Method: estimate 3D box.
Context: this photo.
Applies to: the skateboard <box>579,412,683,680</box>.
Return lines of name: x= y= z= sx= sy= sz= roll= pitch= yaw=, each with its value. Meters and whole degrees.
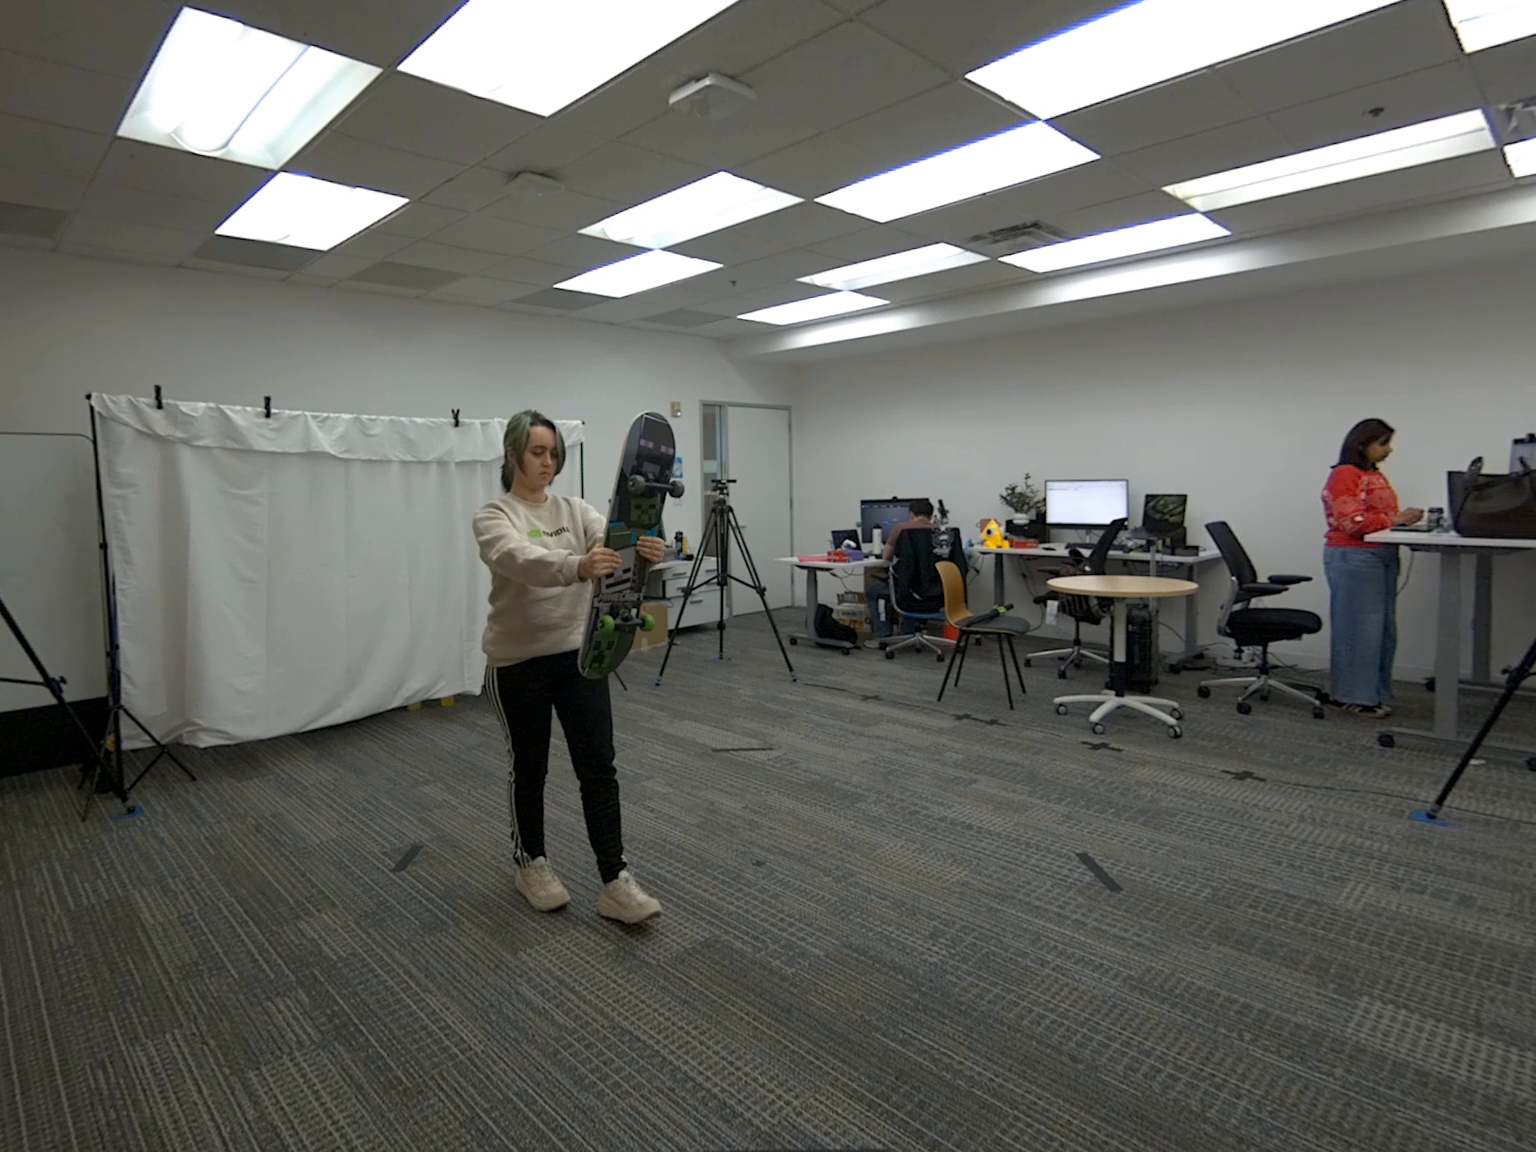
skateboard: x=-0.371 y=-0.066 z=2.393 sx=0.114 sy=0.781 sz=0.187 roll=20 pitch=11 yaw=39
